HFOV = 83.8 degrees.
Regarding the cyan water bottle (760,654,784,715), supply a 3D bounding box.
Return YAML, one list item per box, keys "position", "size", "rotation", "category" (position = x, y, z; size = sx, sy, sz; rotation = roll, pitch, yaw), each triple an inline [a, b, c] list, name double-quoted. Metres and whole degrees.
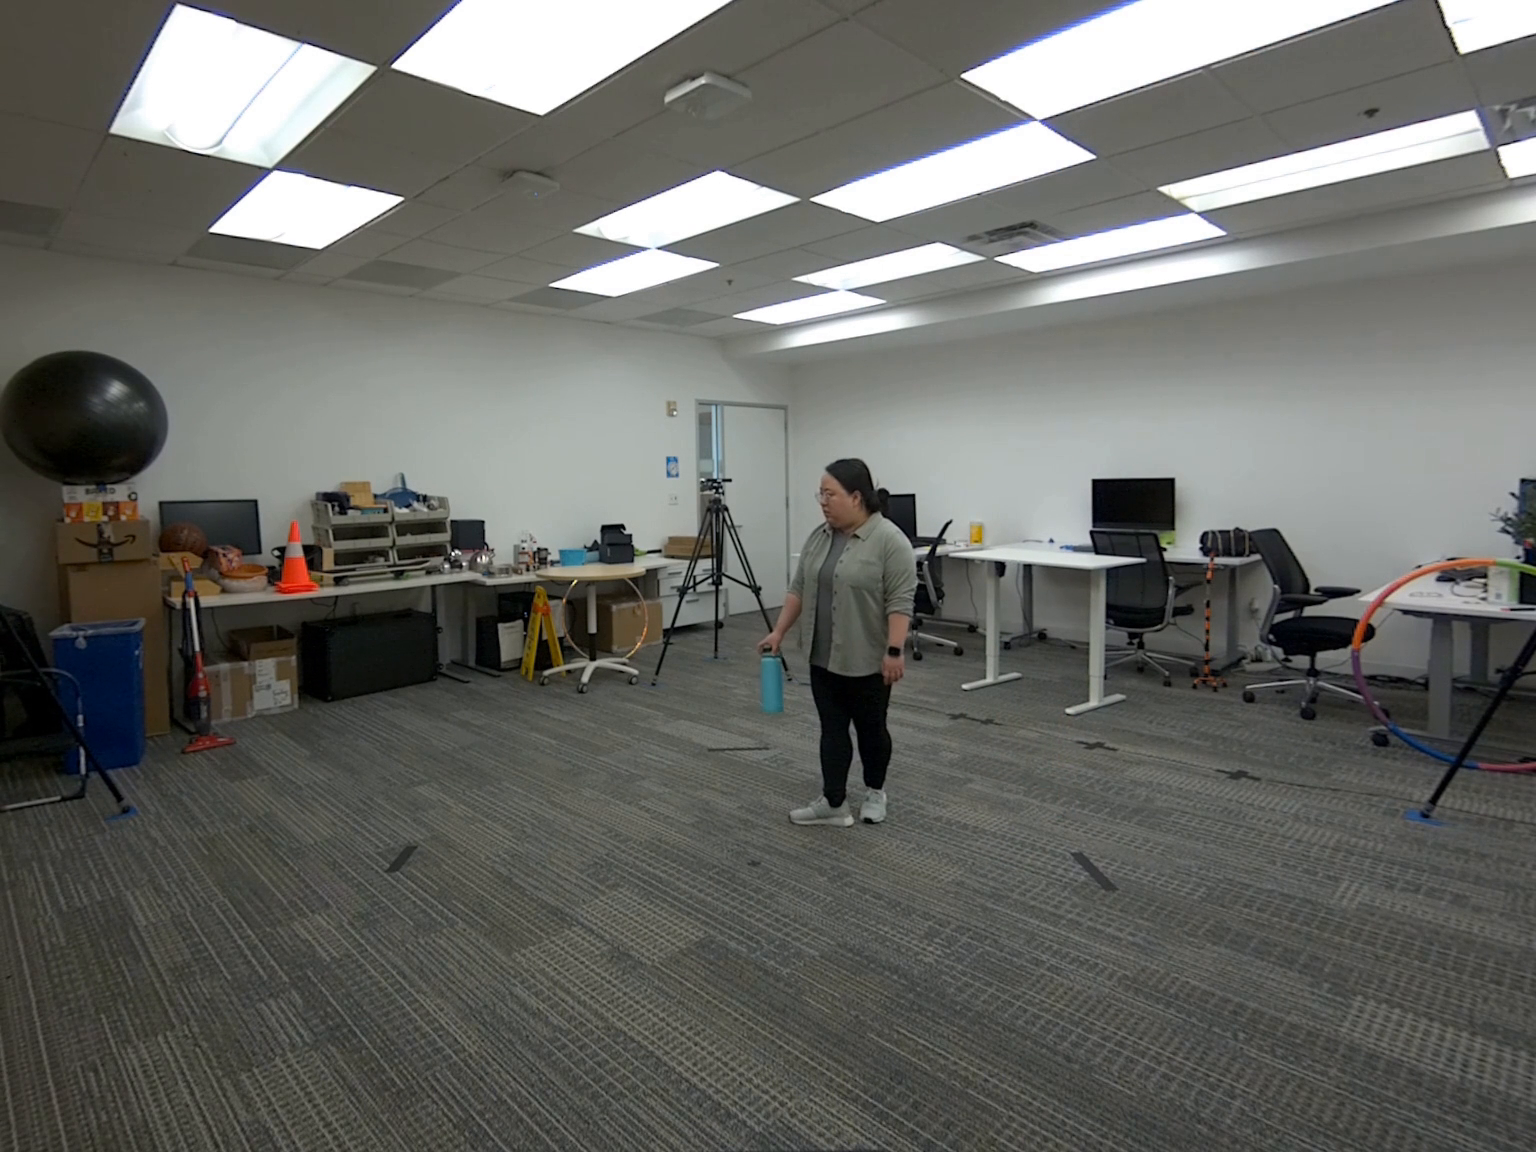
- position: [0.030, 0.435, 3.603]
  size: [0.092, 0.285, 0.092]
  rotation: [-1, -7, -2]
  category: "cyan water bottle"
